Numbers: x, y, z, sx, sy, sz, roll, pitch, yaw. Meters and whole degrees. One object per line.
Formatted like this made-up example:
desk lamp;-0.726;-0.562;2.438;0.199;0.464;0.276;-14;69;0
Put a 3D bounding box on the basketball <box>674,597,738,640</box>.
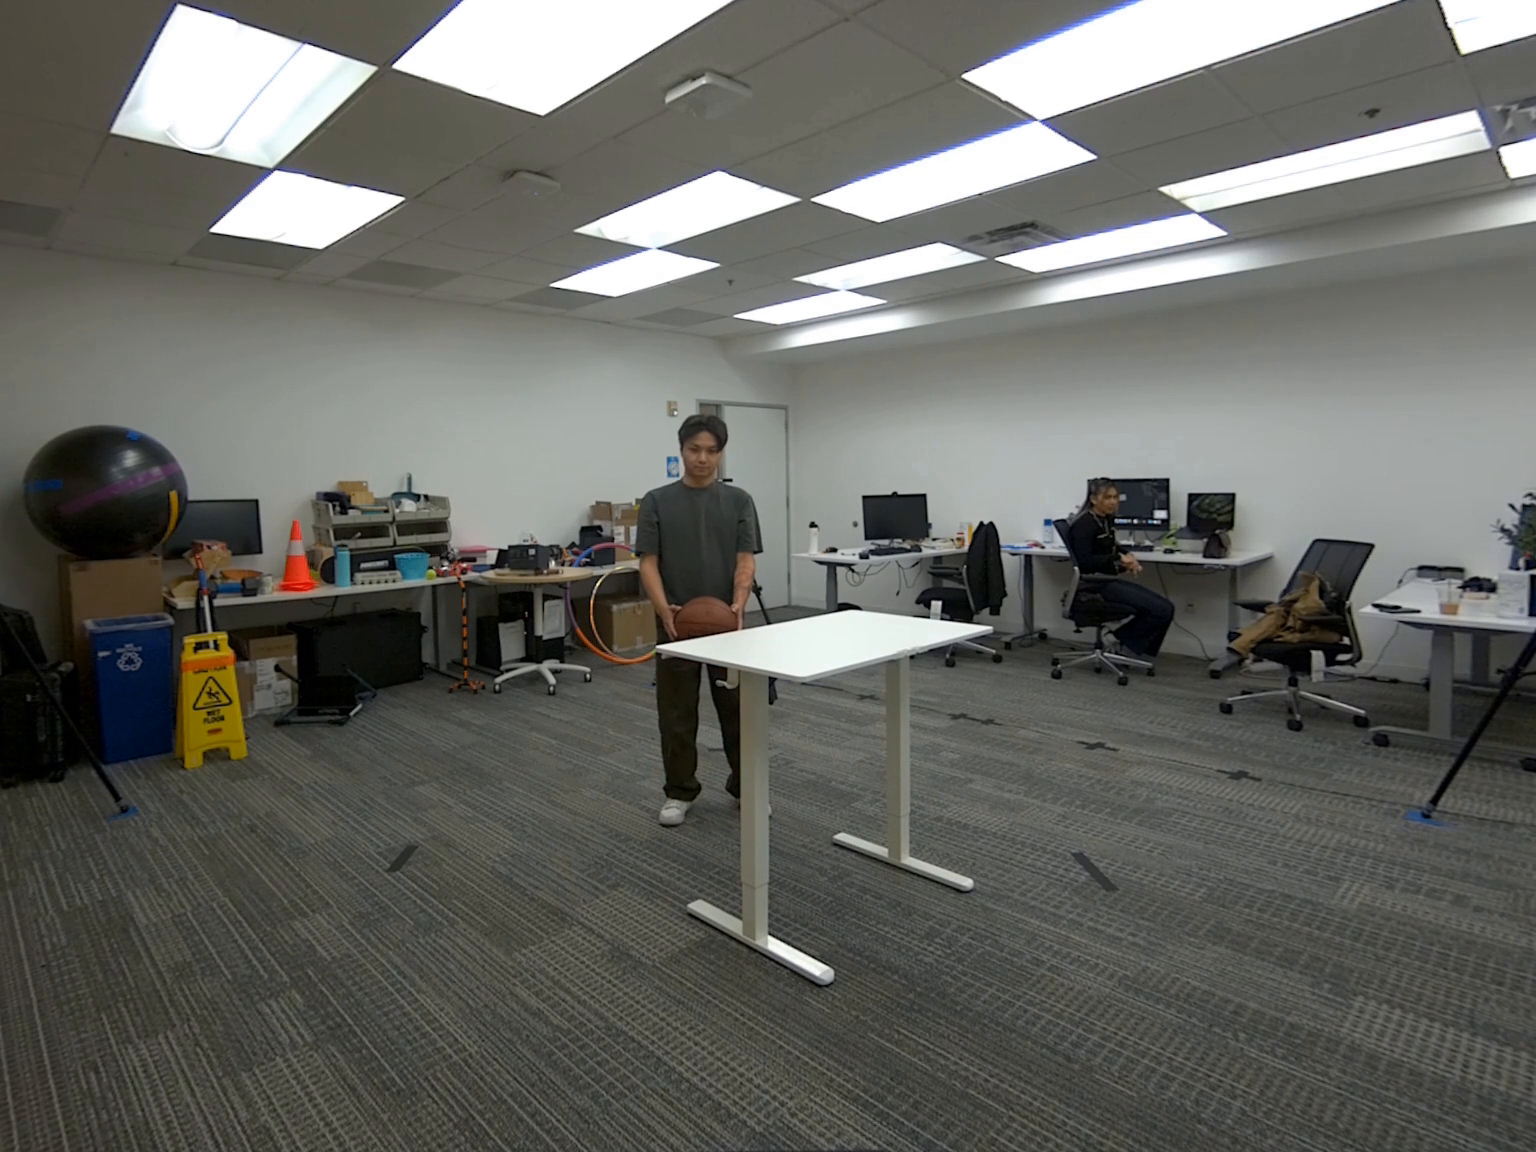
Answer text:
basketball;-0.243;0.198;3.245;0.236;0.235;0.237;-1;5;-2
